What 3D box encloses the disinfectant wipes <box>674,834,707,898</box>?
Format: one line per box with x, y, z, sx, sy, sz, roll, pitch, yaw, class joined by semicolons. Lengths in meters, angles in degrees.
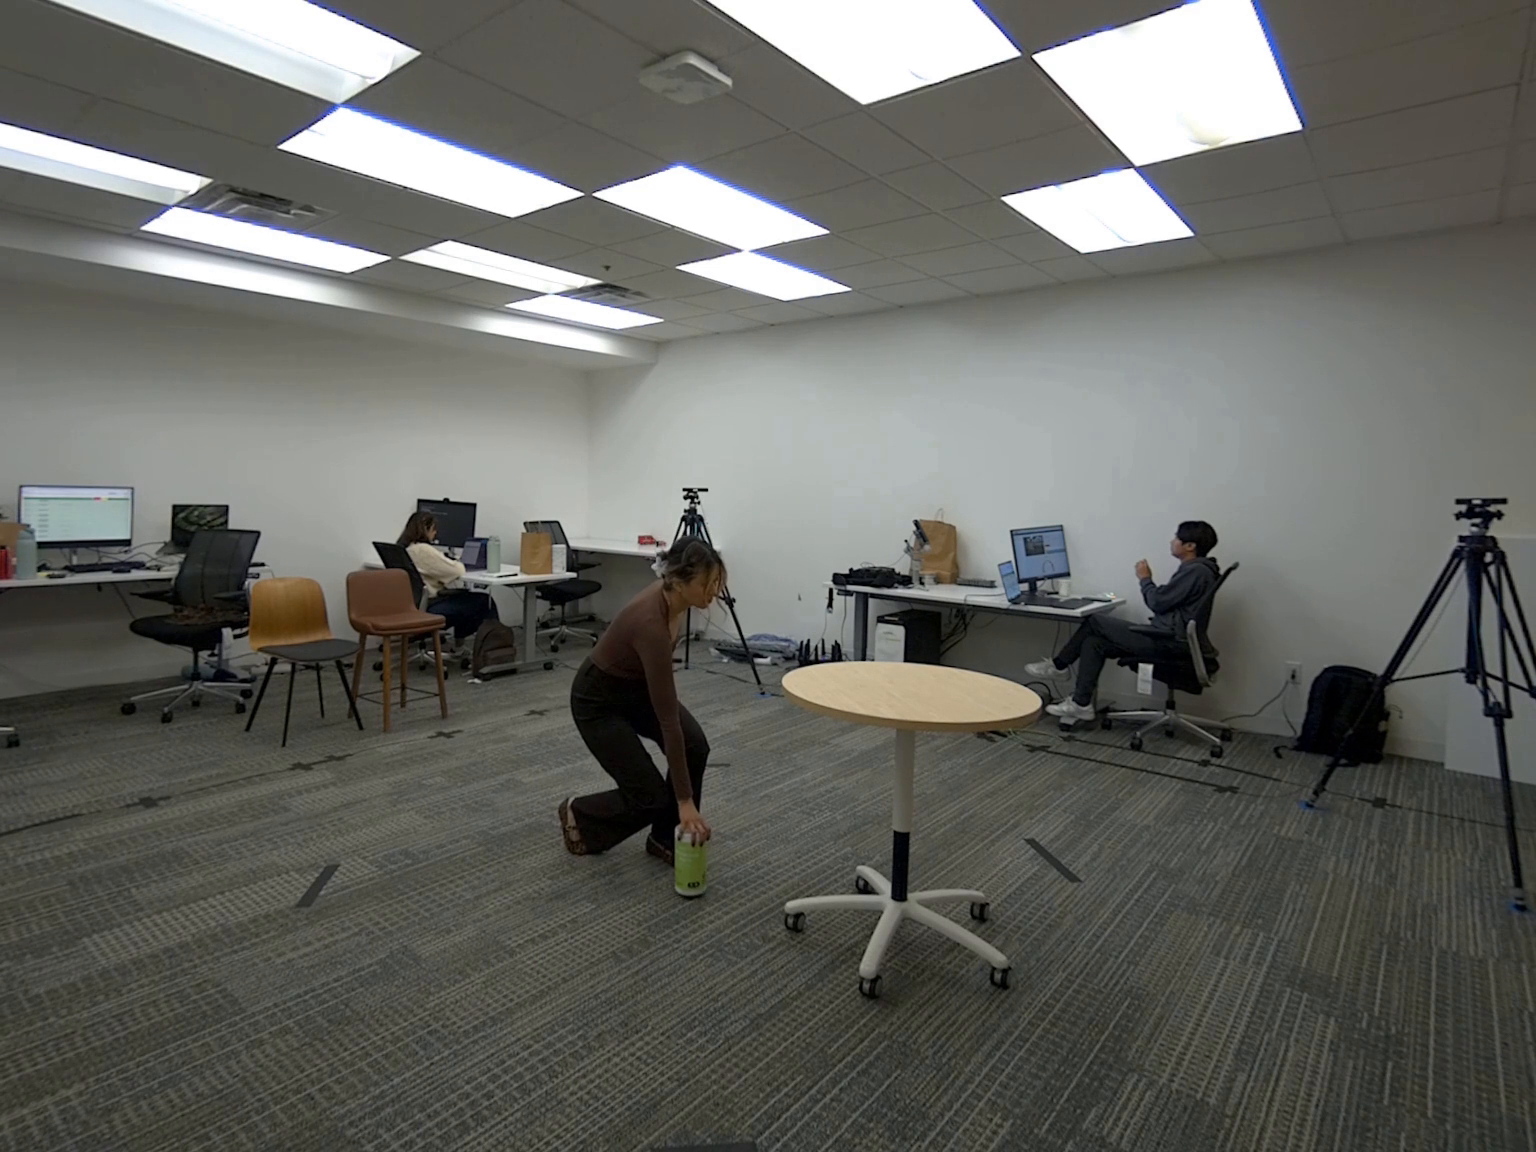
-0.280;0.953;2.910;0.118;0.216;0.118;1;5;-2;disinfectant wipes
